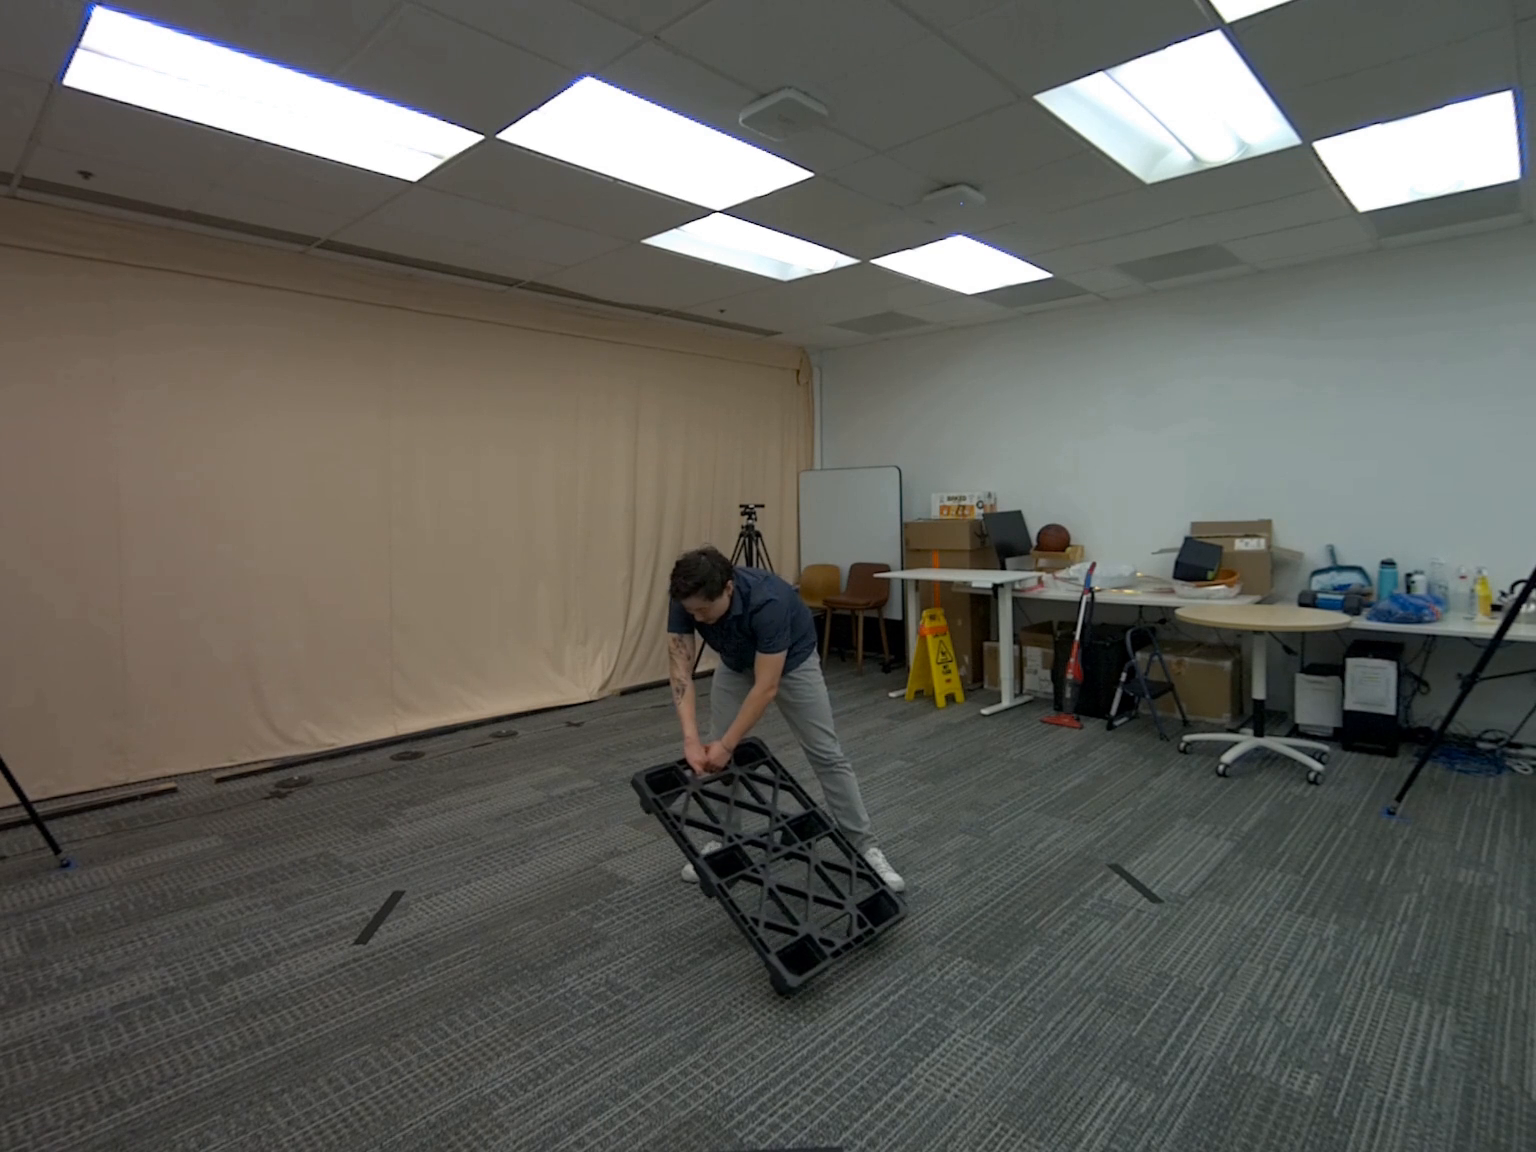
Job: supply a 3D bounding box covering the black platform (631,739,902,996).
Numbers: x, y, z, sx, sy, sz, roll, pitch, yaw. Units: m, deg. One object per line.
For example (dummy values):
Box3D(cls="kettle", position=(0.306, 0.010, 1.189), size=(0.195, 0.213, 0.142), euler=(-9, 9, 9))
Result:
Box3D(cls="black platform", position=(-0.018, 0.899, 2.728), size=(0.587, 0.143, 0.832), euler=(-5, 40, -47))
